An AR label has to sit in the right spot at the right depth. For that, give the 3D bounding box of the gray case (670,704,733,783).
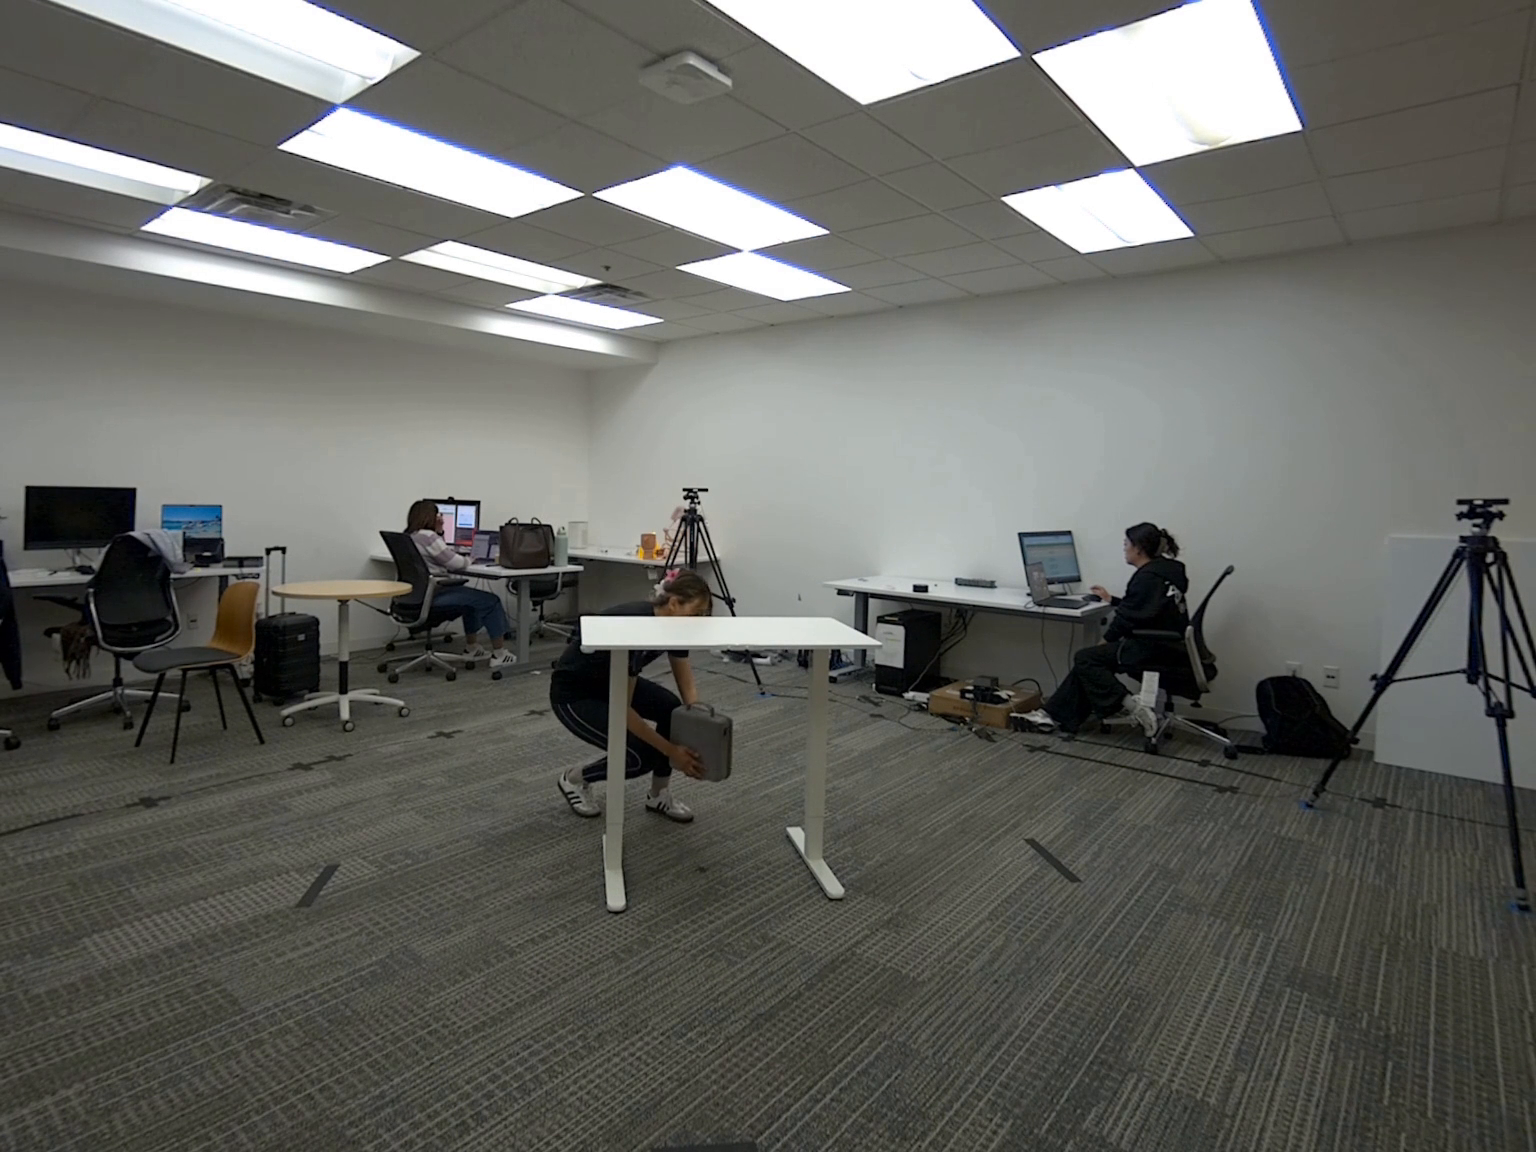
[{"bbox_3d":[-0.273,0.644,3.339,0.265,0.259,0.101,6,8,34],"label":"gray case"}]
